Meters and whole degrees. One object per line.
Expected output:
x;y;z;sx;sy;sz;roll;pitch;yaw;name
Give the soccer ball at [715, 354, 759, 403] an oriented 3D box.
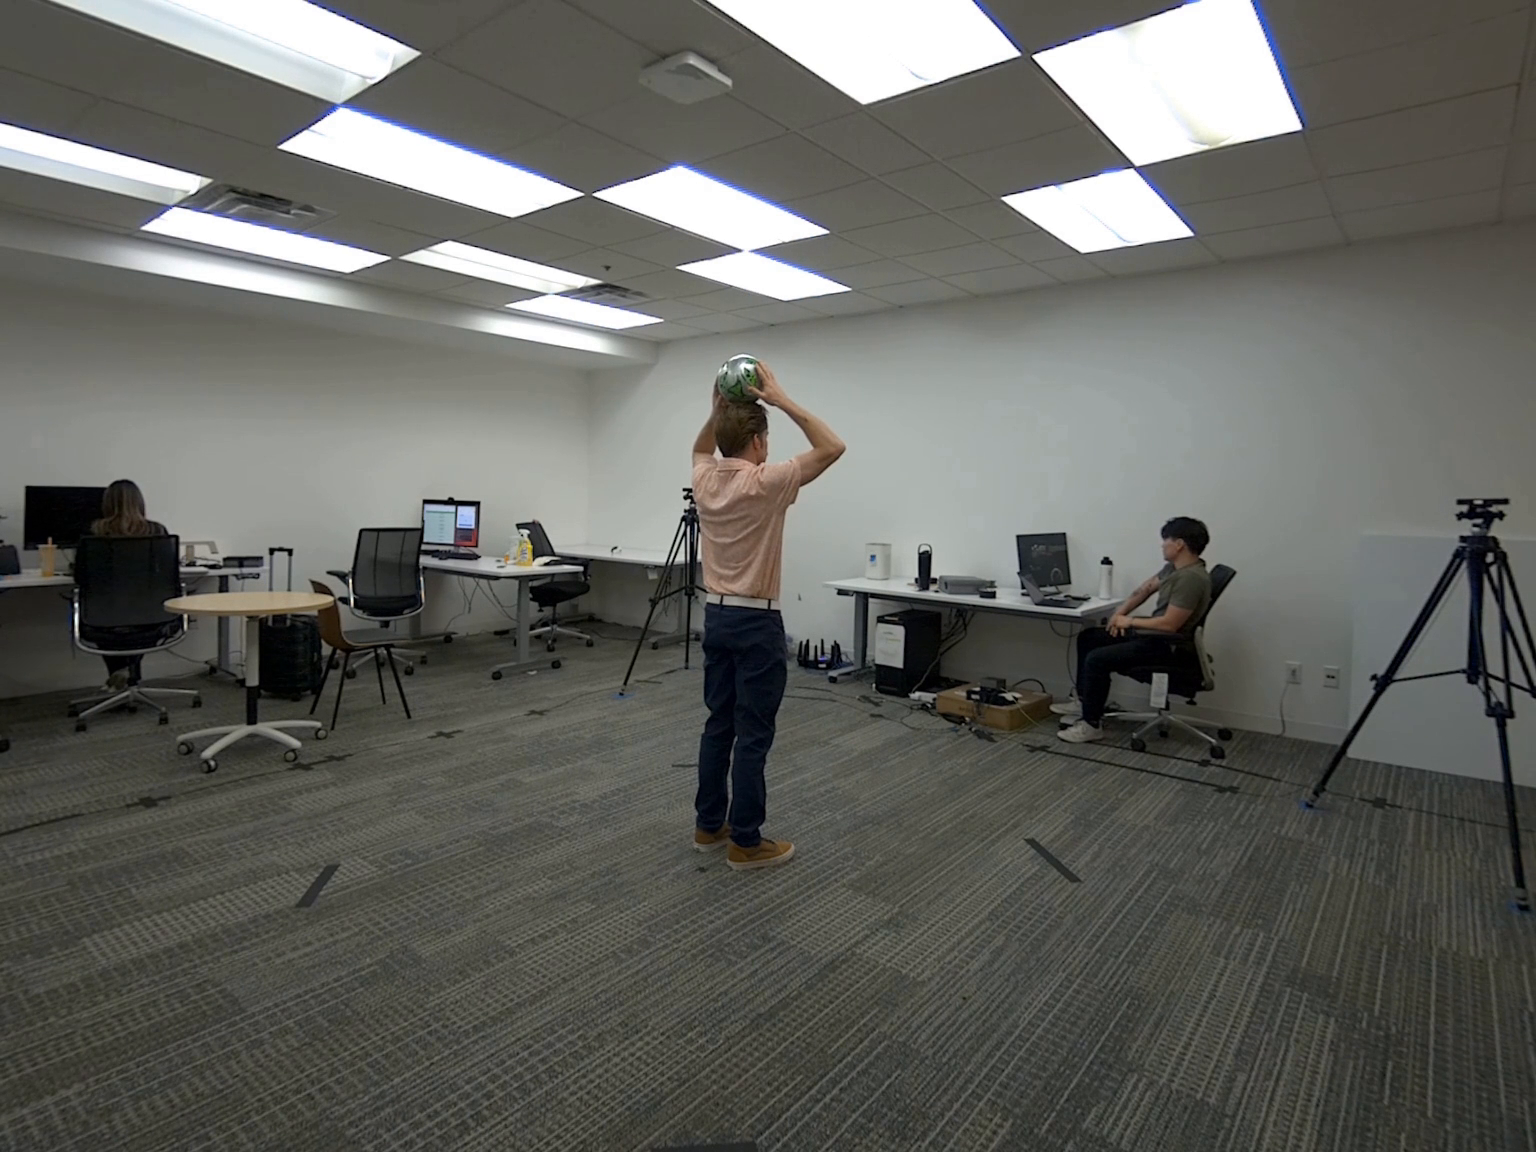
-0.113;-0.726;3.184;0.187;0.187;0.188;1;4;-2;soccer ball
